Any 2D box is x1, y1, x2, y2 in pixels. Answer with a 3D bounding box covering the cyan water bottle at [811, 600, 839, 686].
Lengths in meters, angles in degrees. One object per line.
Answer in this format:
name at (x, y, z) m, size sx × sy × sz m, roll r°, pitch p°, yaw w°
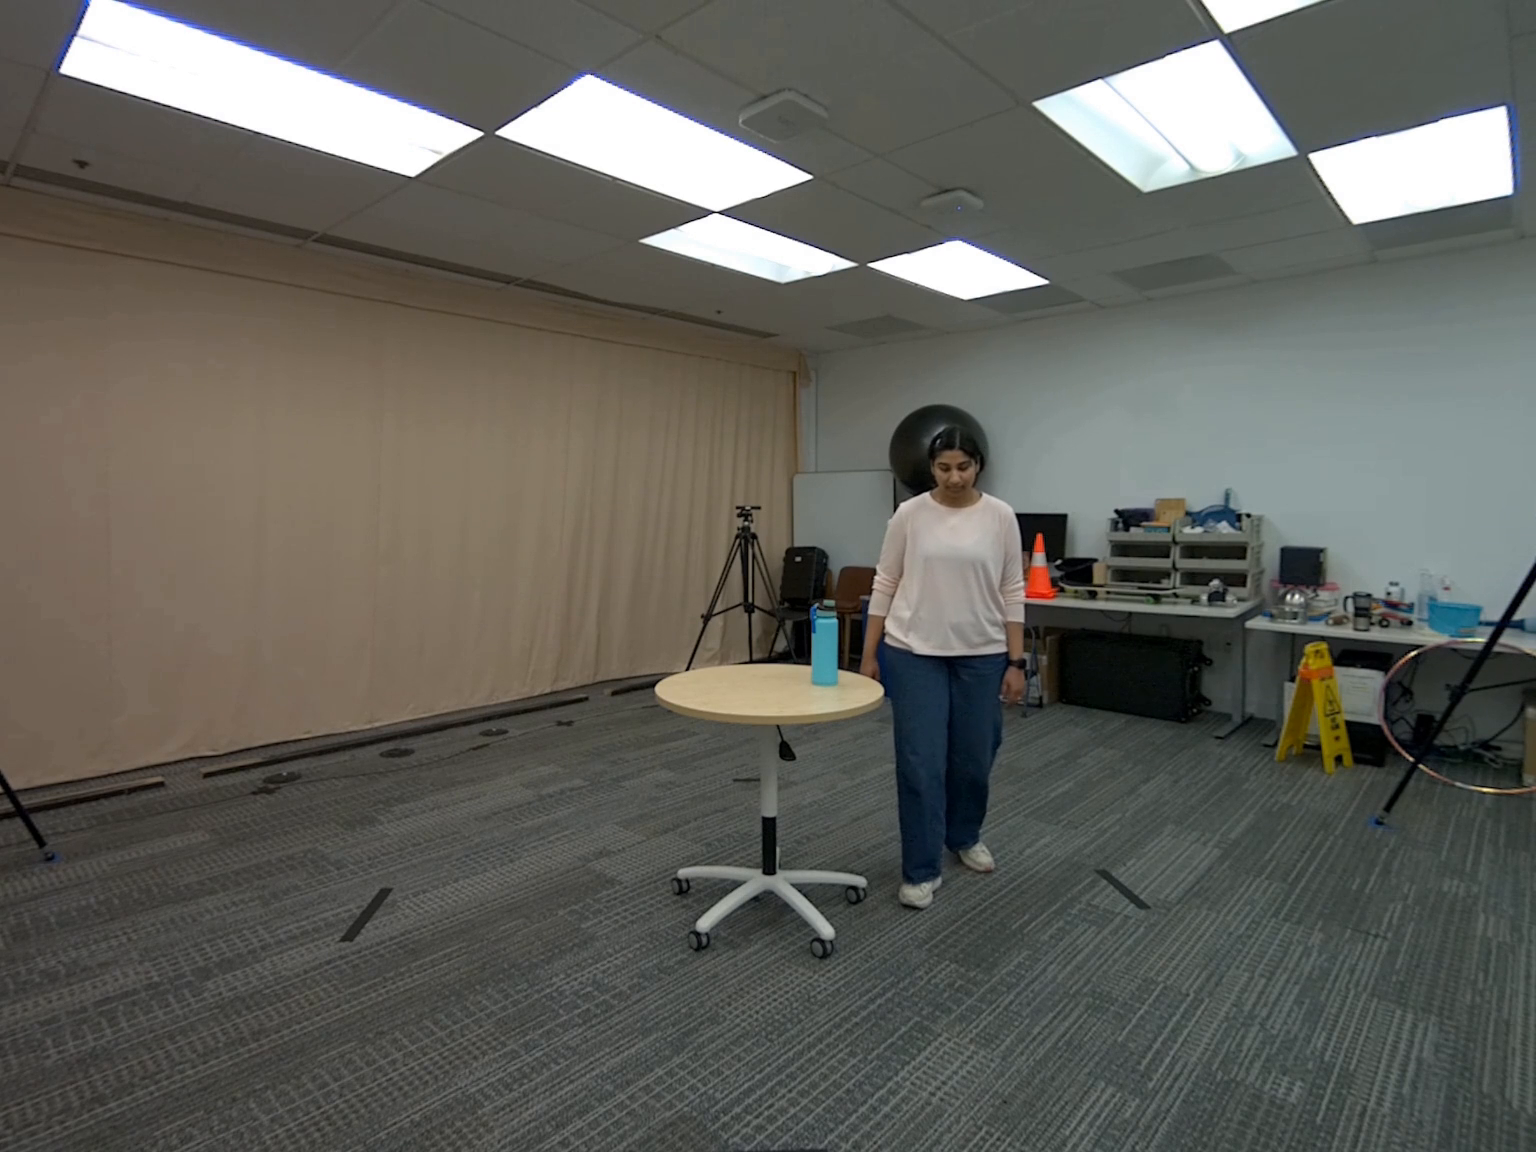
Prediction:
cyan water bottle at (0.203, 0.229, 2.872) m, size 0.092 × 0.283 × 0.092 m, roll -1°, pitch 3°, yaw -2°
